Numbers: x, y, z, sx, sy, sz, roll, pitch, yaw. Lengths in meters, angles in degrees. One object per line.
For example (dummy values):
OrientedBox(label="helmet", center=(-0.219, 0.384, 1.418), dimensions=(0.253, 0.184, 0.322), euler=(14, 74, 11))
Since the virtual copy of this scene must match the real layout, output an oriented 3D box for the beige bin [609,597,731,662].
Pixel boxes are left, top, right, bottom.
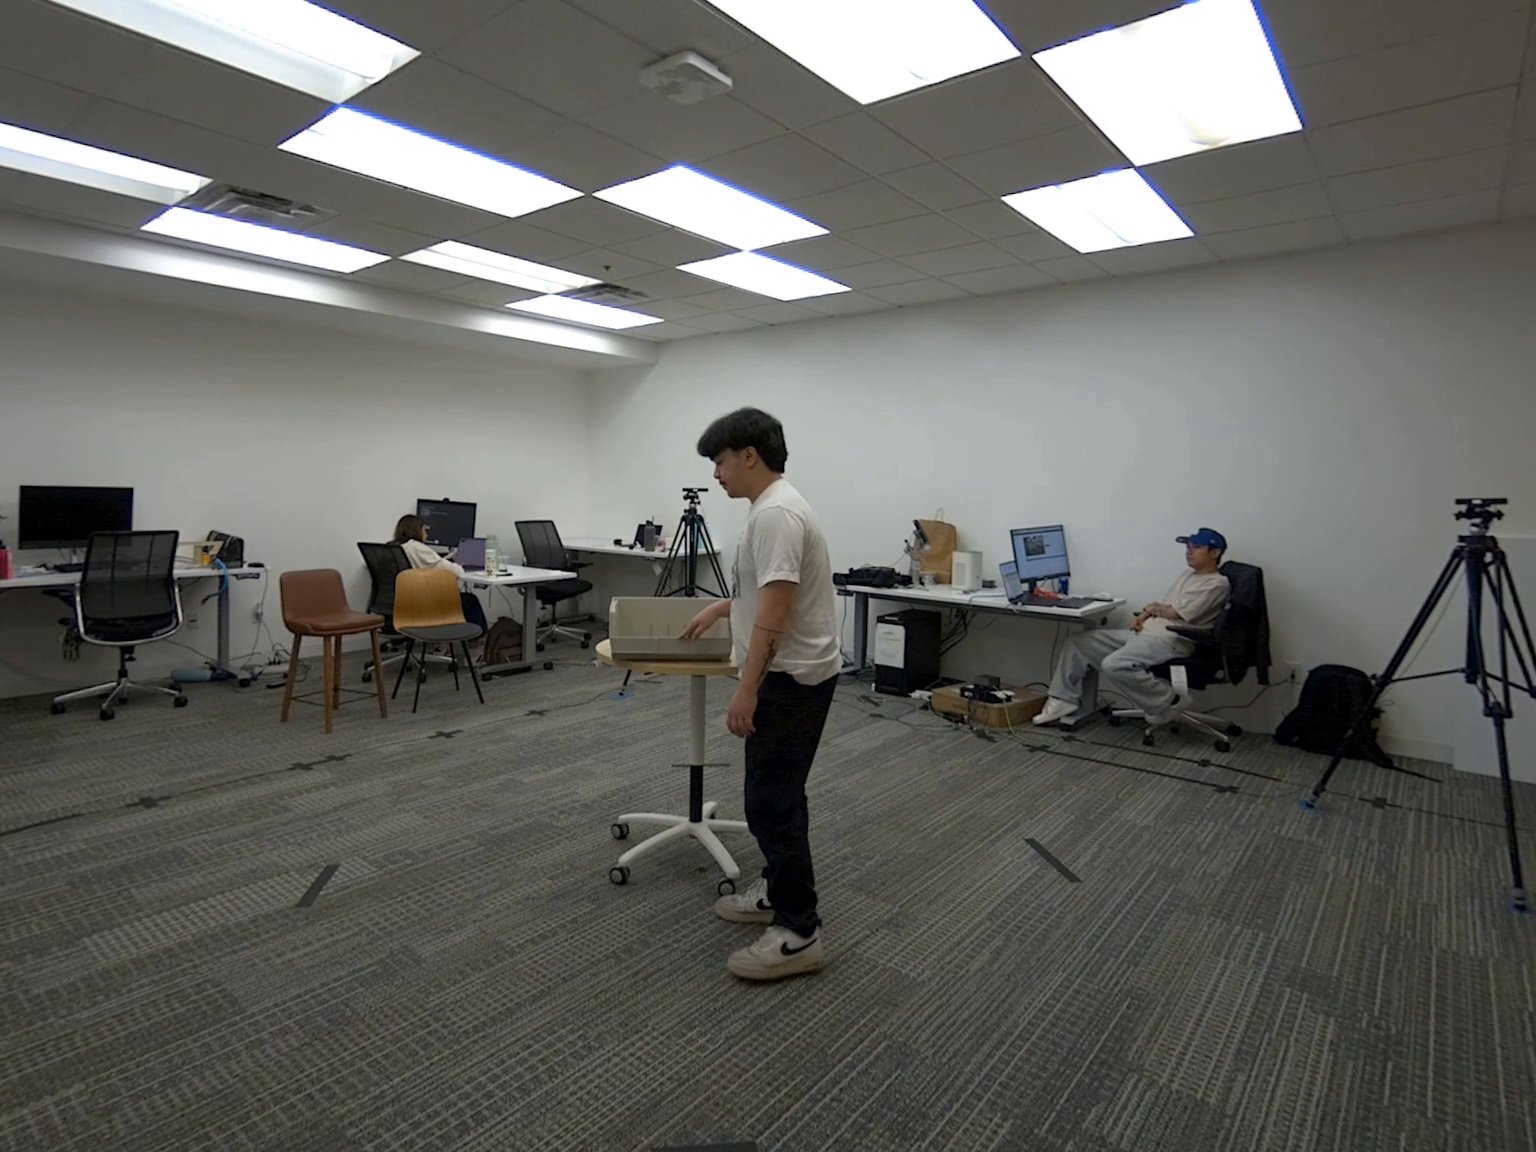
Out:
OrientedBox(label="beige bin", center=(-0.356, 0.183, 3.017), dimensions=(0.419, 0.188, 0.381), euler=(0, 4, -7))
